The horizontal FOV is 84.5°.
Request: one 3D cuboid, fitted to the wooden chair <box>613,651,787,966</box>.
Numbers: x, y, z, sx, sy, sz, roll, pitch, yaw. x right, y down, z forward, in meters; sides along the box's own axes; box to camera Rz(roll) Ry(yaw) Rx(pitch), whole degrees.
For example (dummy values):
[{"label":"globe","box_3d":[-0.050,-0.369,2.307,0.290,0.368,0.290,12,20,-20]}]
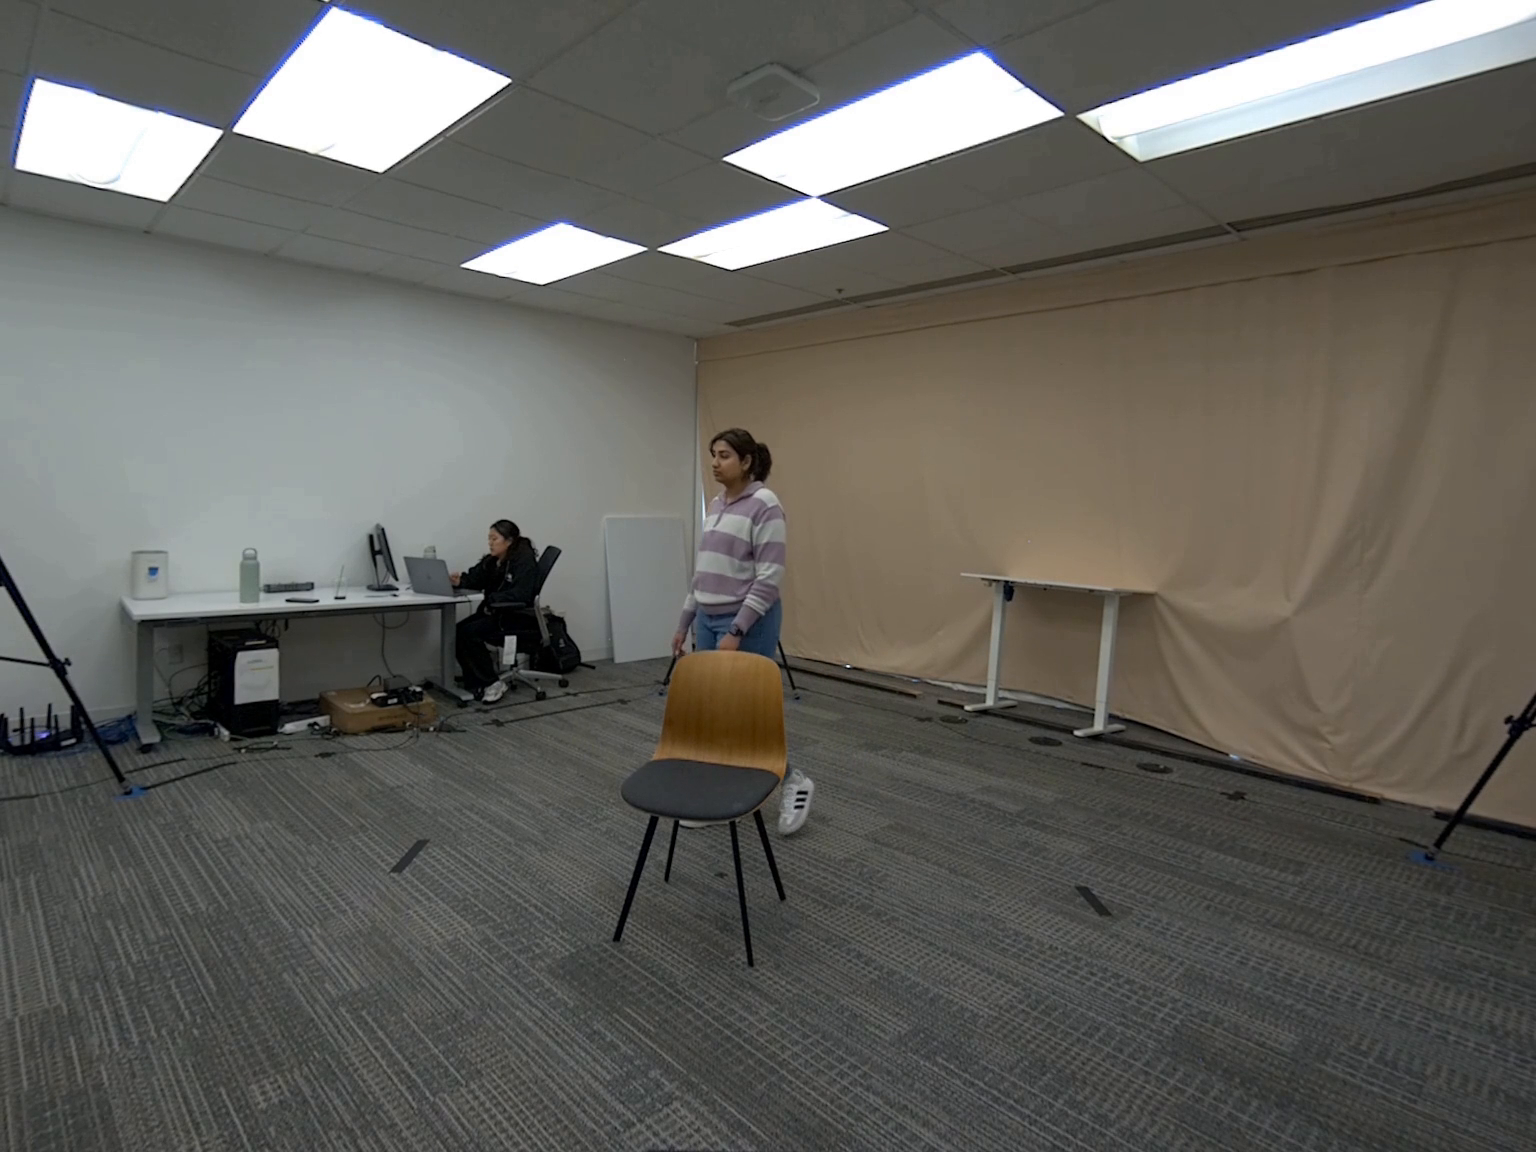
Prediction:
[{"label":"wooden chair","box_3d":[-0.213,0.709,2.731,0.484,0.878,0.516,2,0,16]}]
